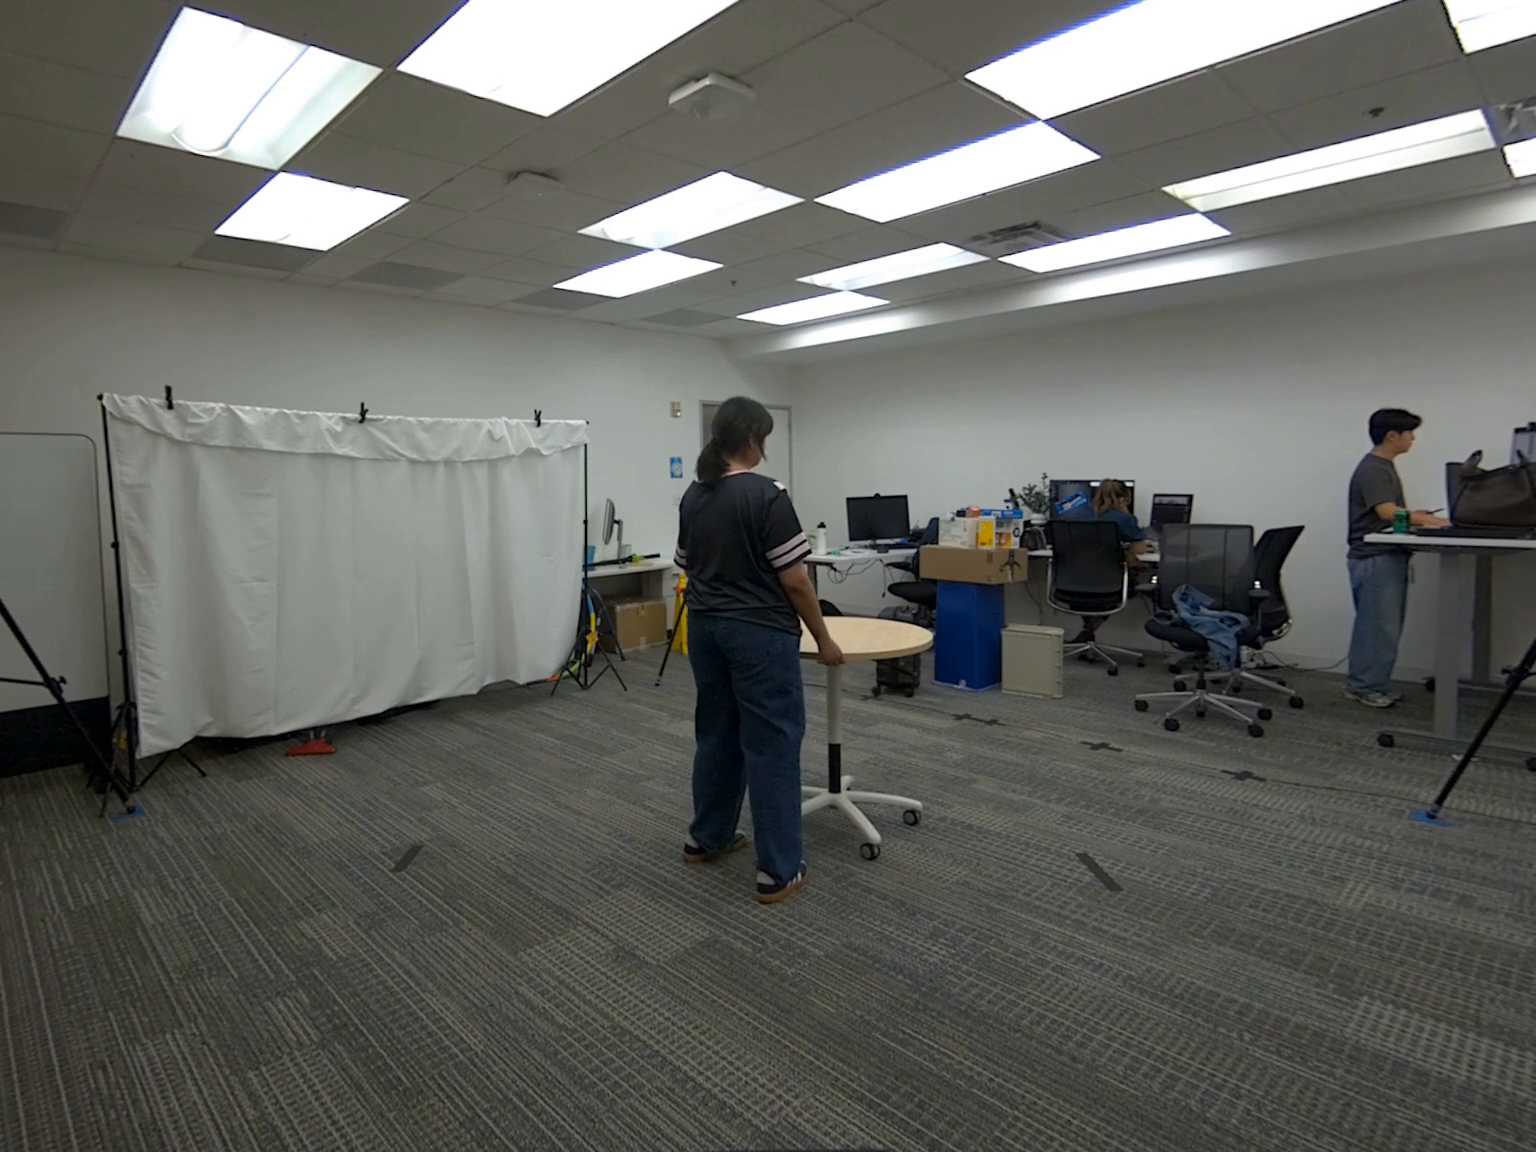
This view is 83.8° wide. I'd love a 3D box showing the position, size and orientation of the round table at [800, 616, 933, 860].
[{"bbox_3d":[0.254,0.612,3.409,0.784,0.783,0.789,0,5,-2],"label":"round table"}]
